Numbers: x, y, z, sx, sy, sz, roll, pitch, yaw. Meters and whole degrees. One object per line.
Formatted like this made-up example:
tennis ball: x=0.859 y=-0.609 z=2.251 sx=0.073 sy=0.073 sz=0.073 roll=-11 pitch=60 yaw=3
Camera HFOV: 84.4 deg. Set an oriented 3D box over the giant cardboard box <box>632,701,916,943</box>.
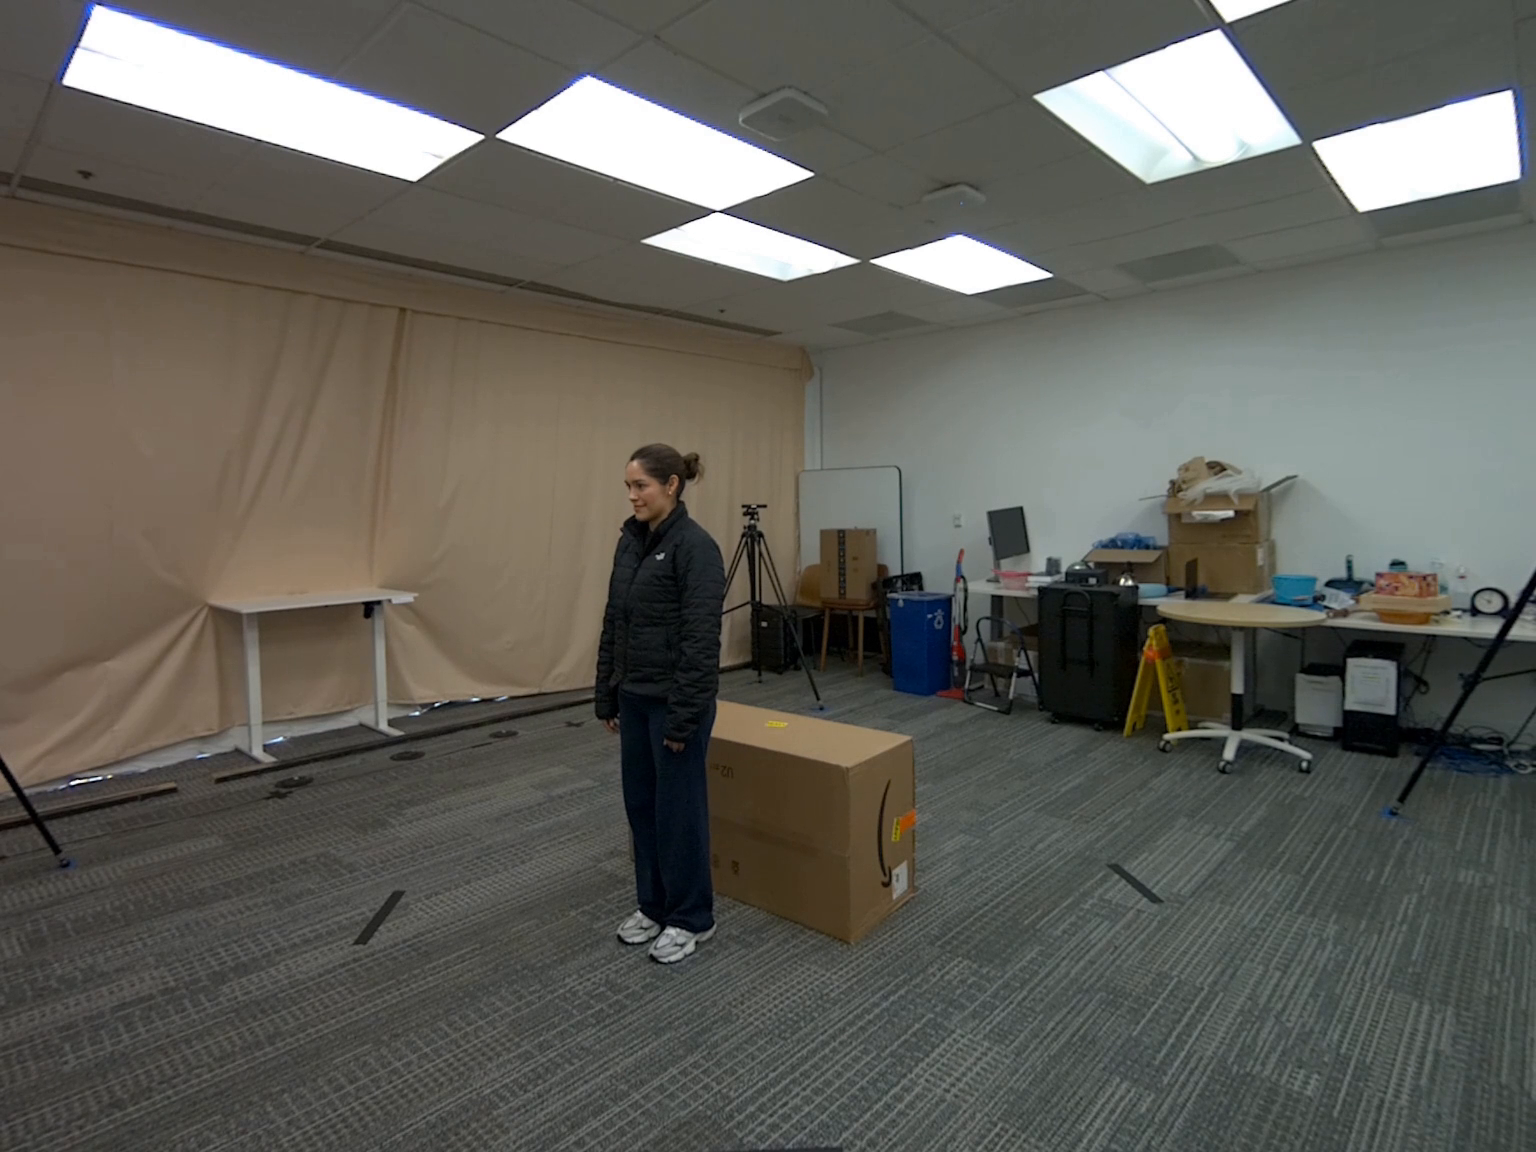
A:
giant cardboard box: x=-0.003 y=0.841 z=3.137 sx=1.059 sy=0.576 sz=0.414 roll=3 pitch=6 yaw=40
